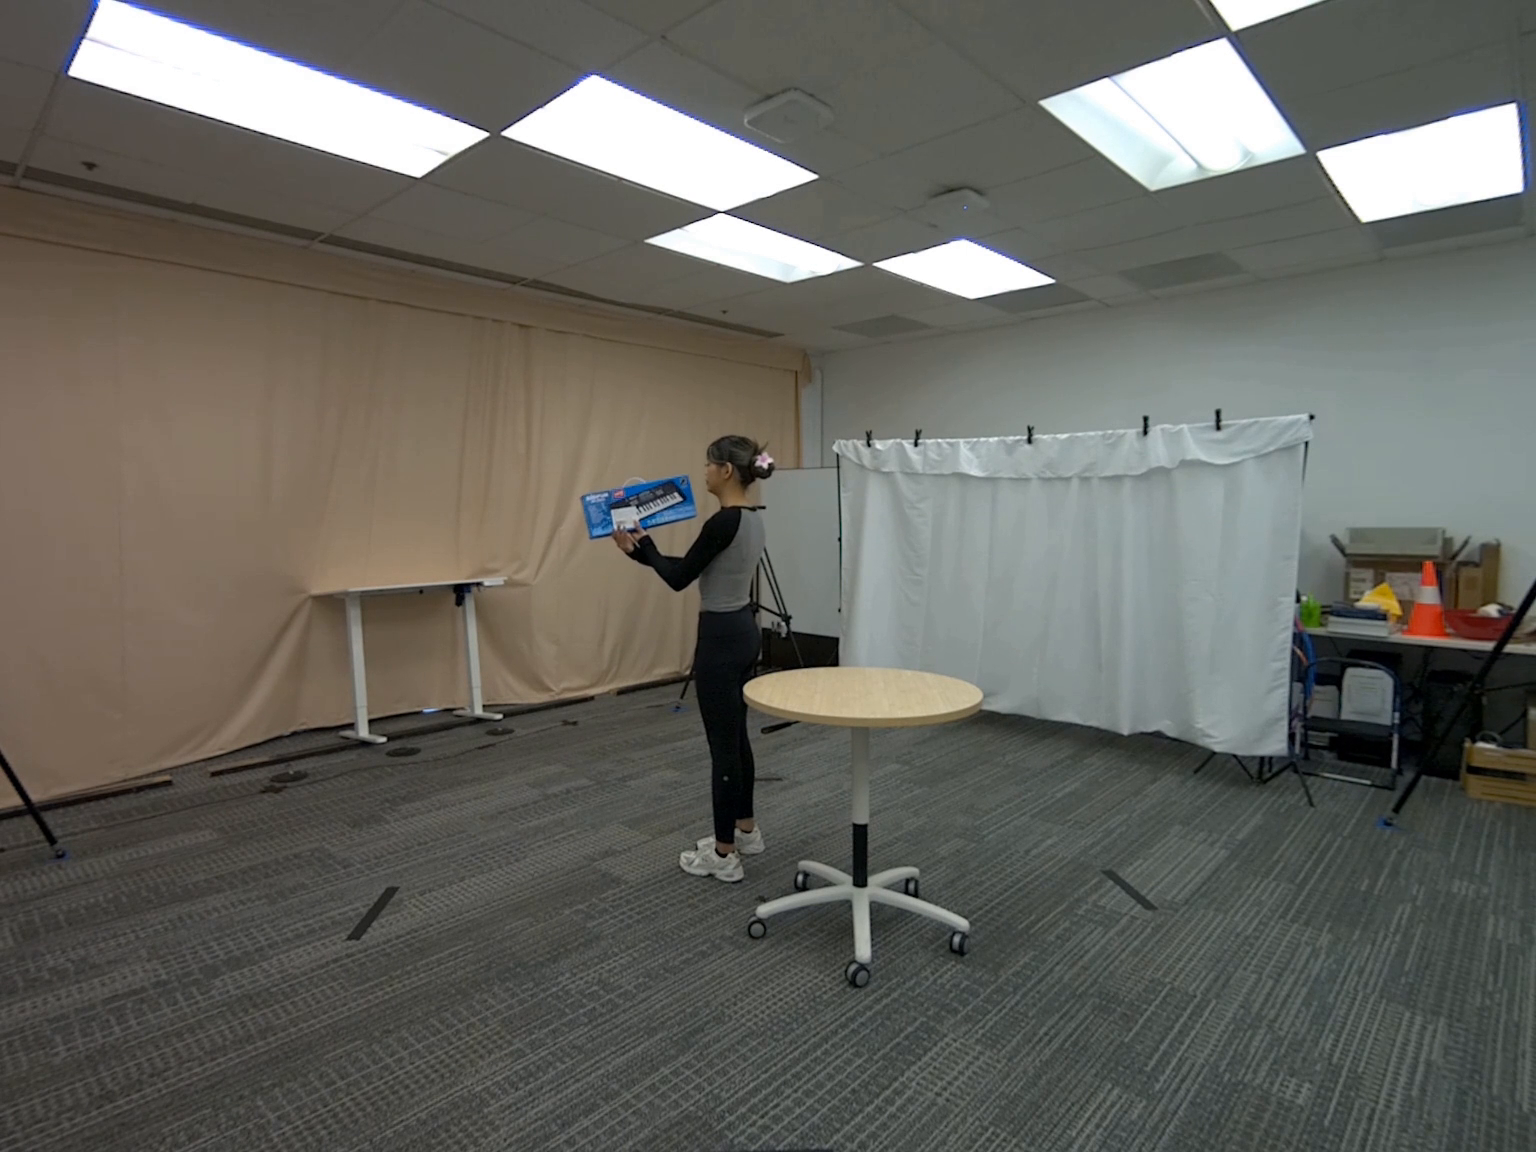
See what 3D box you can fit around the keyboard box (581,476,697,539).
[{"bbox_3d":[-0.507,-0.272,3.342,0.430,0.176,0.060,-14,-4,-16],"label":"keyboard box"}]
